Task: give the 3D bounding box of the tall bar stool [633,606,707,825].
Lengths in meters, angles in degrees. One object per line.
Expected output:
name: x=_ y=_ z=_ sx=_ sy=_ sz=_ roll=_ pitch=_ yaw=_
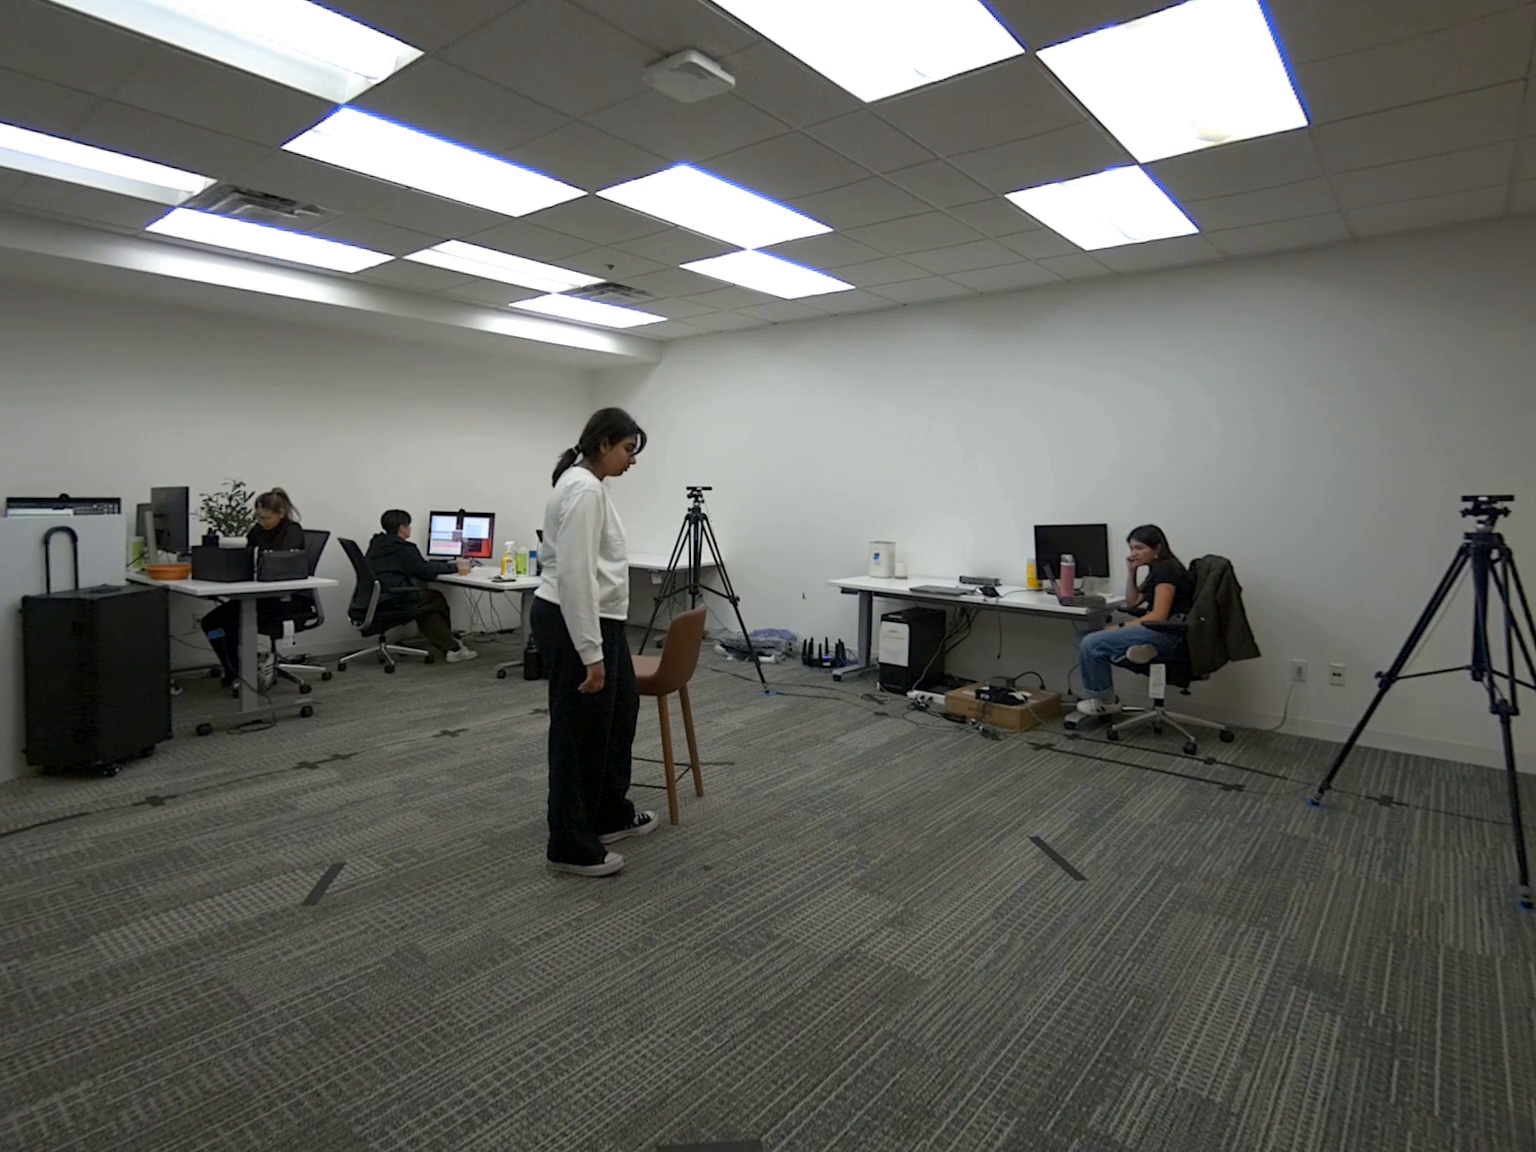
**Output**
tall bar stool: x=-0.542 y=0.566 z=3.724 sx=0.476 sy=0.887 sz=0.449 roll=3 pitch=4 yaw=16
